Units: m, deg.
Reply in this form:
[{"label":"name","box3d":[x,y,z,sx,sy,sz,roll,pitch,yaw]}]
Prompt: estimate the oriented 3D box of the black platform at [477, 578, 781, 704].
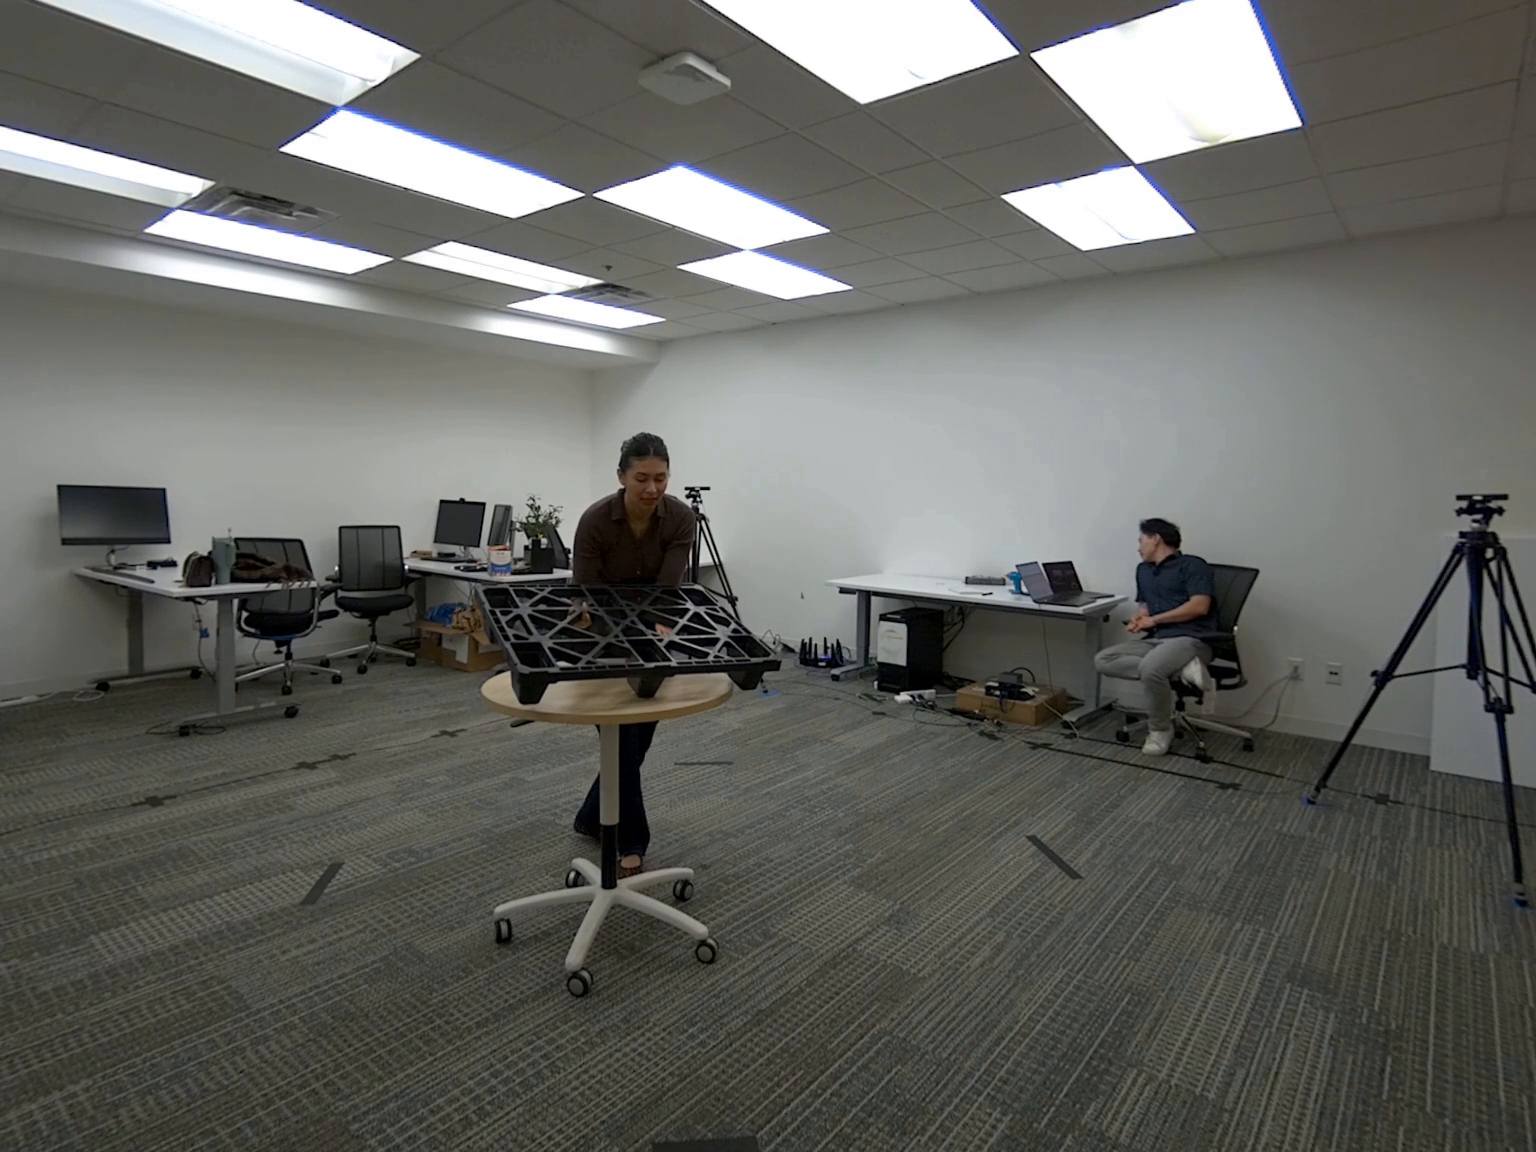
[{"label":"black platform","box3d":[-0.445,0.195,2.614,0.784,0.141,0.630,0,21,-29]}]
